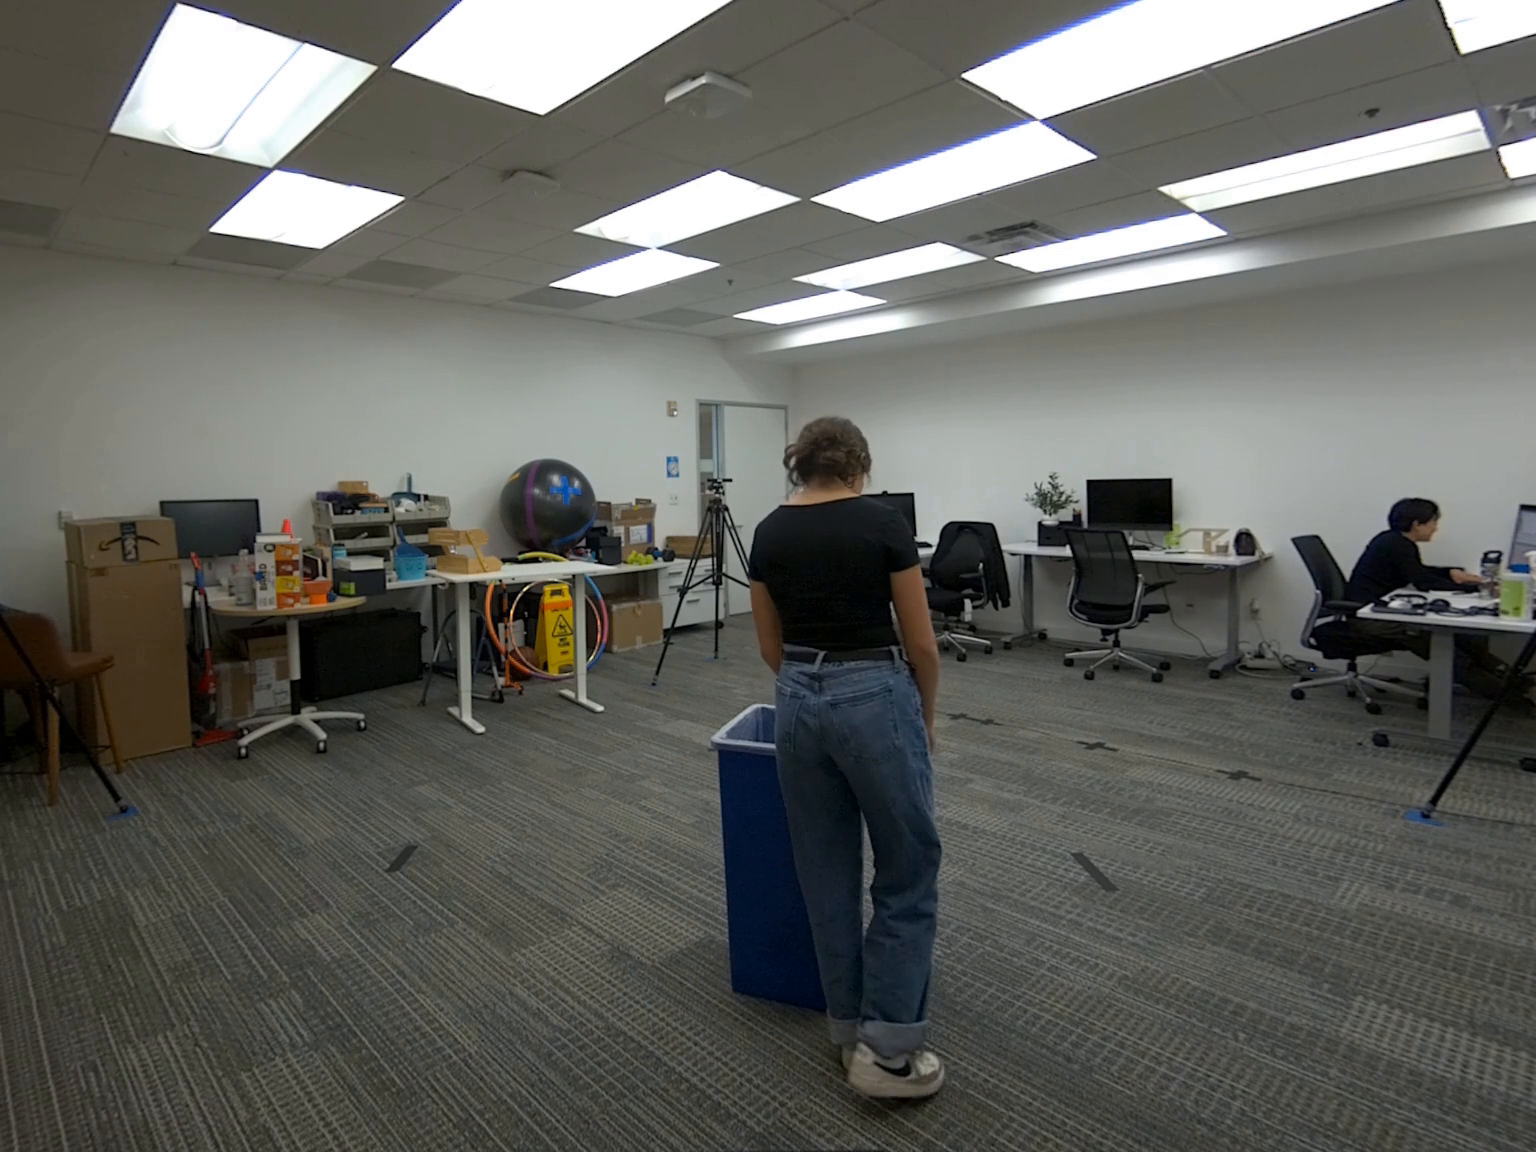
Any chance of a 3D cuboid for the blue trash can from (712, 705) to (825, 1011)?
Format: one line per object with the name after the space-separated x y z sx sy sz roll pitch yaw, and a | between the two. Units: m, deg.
0.084 0.771 2.386 0.385 0.711 0.368 0 4 20 | blue trash can
